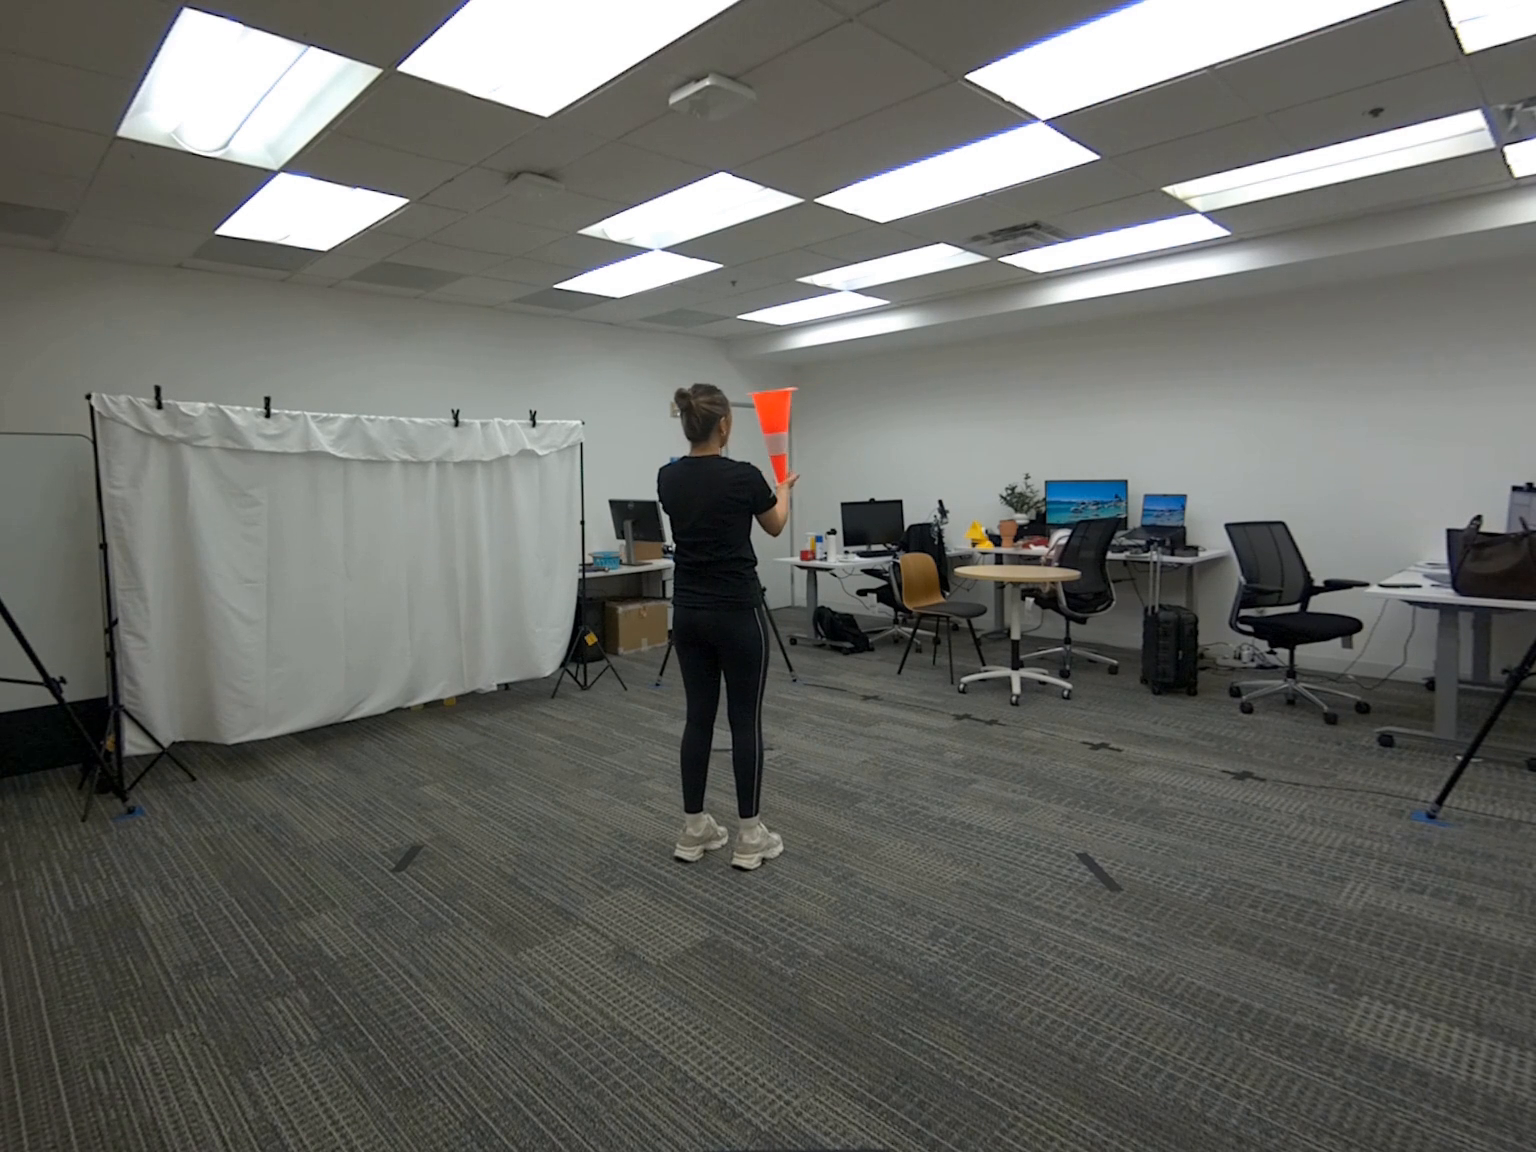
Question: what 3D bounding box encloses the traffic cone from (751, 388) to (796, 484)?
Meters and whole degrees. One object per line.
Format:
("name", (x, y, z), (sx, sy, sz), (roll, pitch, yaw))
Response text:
("traffic cone", (0.030, -0.558, 3.483), (0.203, 0.380, 0.207), (-4, 11, -1))
